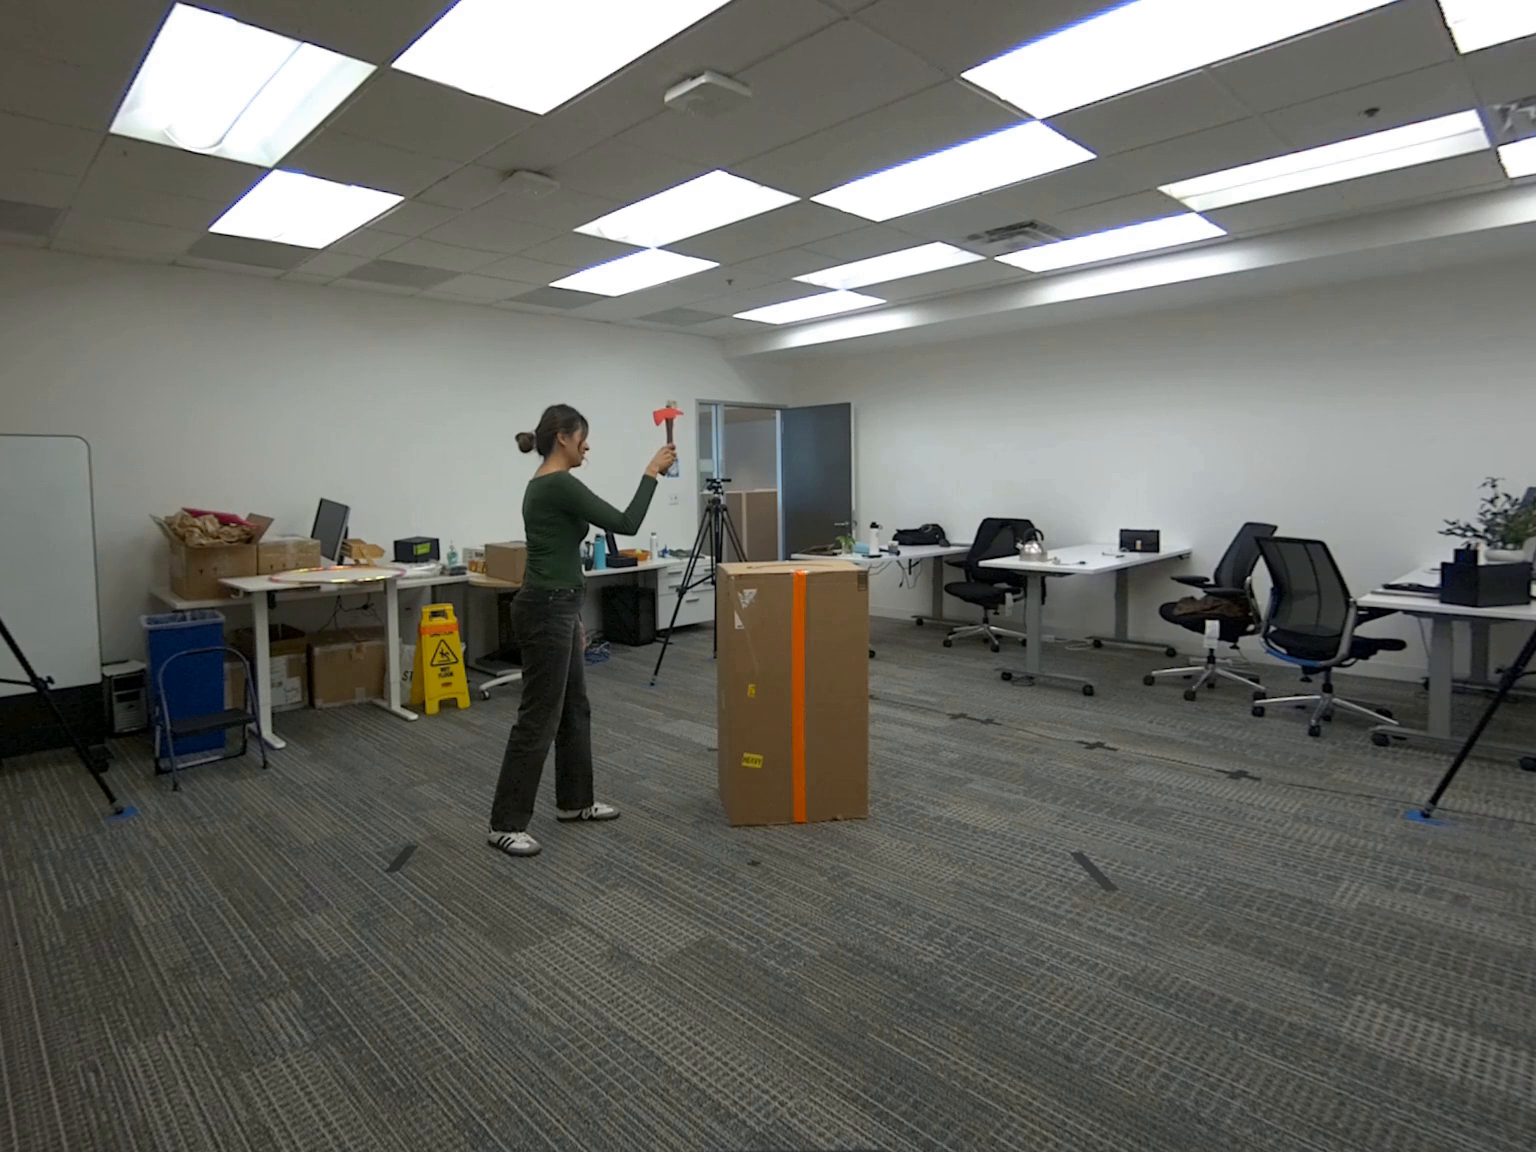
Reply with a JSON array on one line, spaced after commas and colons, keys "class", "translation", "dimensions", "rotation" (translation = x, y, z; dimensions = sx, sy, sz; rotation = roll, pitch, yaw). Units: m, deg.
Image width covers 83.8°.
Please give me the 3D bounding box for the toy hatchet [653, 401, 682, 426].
[{"class": "toy hatchet", "translation": [-0.416, -0.527, 3.321], "dimensions": [0.127, 0.271, 0.030], "rotation": [18, -6, -28]}]
